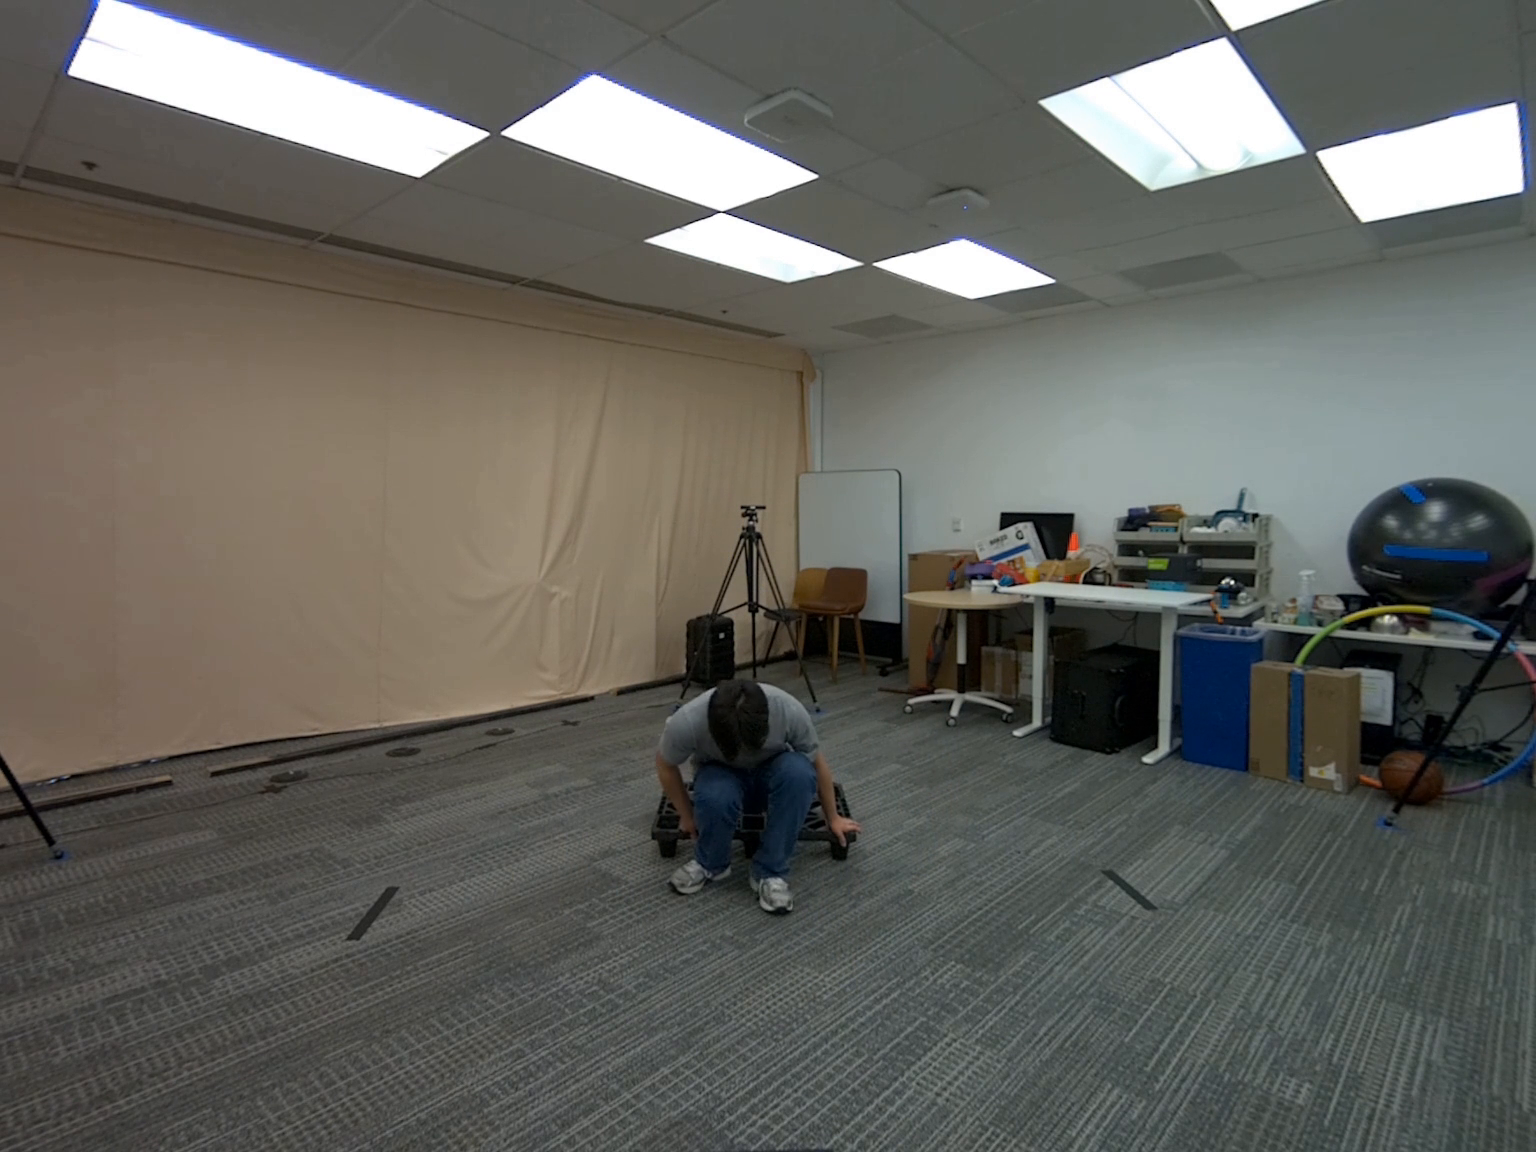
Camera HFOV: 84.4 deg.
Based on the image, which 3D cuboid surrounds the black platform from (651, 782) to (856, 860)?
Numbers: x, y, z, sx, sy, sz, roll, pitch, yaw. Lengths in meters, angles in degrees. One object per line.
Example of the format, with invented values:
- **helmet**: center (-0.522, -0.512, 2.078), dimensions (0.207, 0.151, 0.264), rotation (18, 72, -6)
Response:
- **black platform**: center (-0.055, 1.025, 3.543), dimensions (0.808, 0.143, 0.605), rotation (-1, 5, 2)
